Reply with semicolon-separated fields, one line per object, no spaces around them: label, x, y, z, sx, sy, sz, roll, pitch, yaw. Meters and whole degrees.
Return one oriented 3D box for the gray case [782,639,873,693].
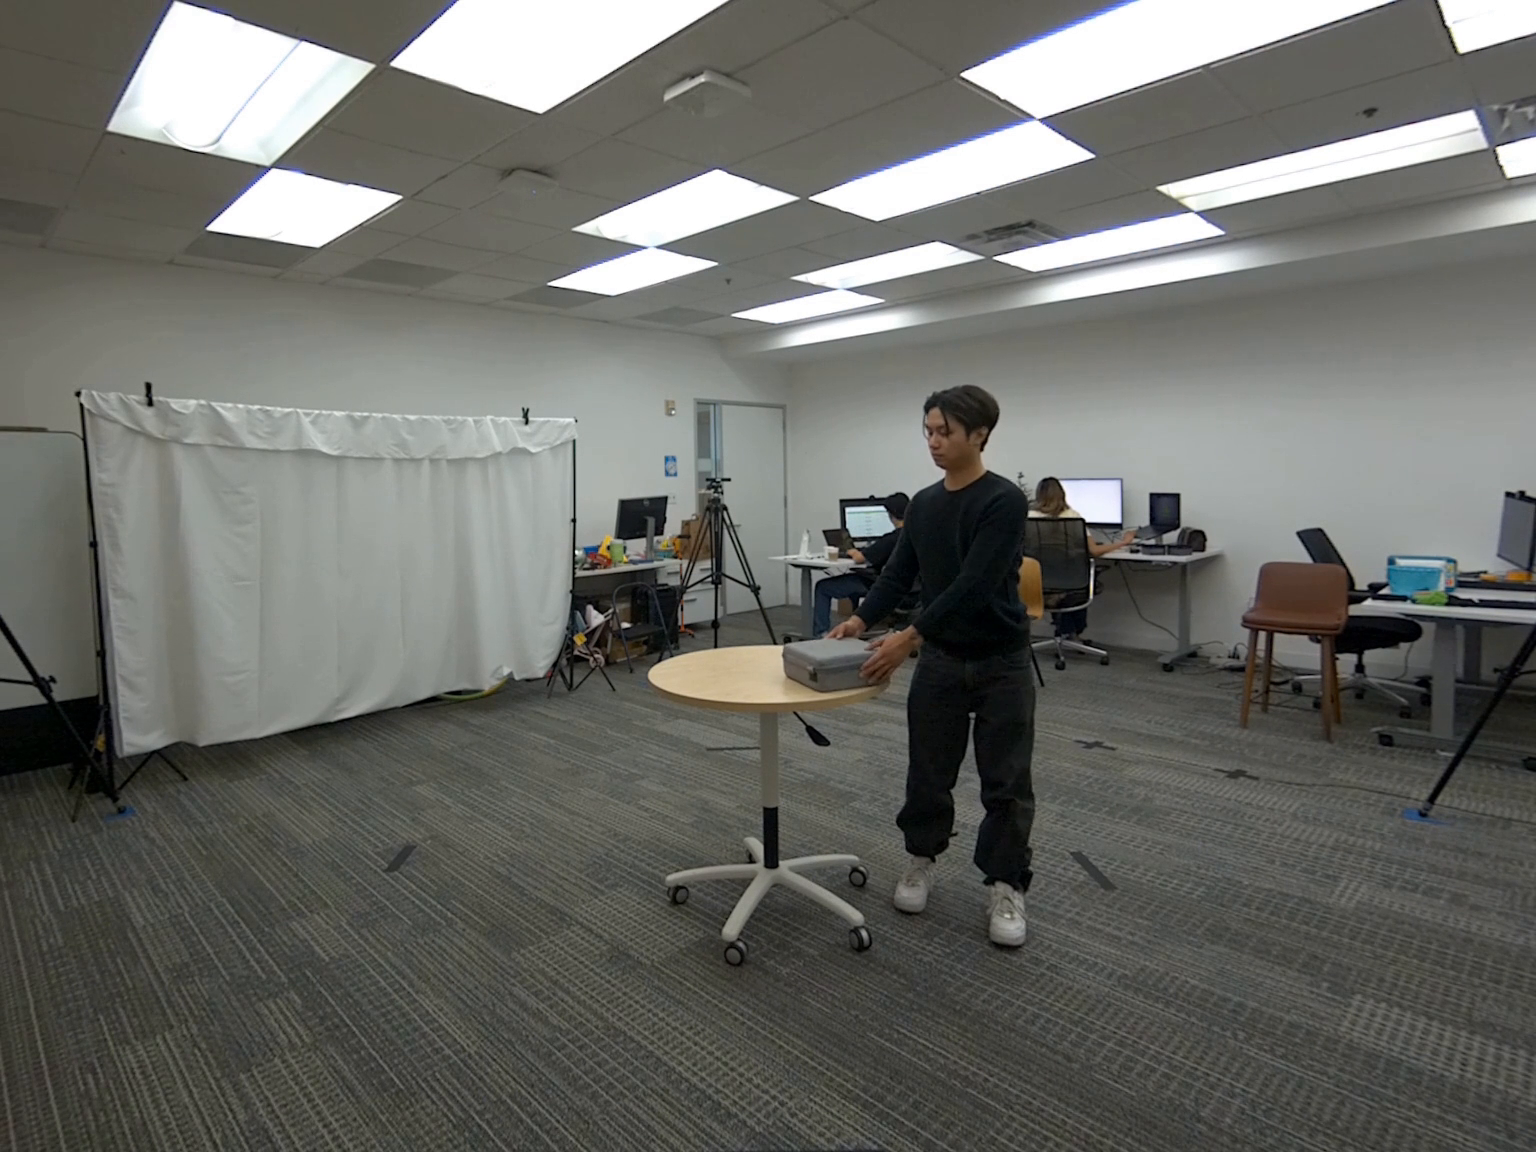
gray case;0.208;0.261;2.583;0.256;0.104;0.262;-4;6;-20
